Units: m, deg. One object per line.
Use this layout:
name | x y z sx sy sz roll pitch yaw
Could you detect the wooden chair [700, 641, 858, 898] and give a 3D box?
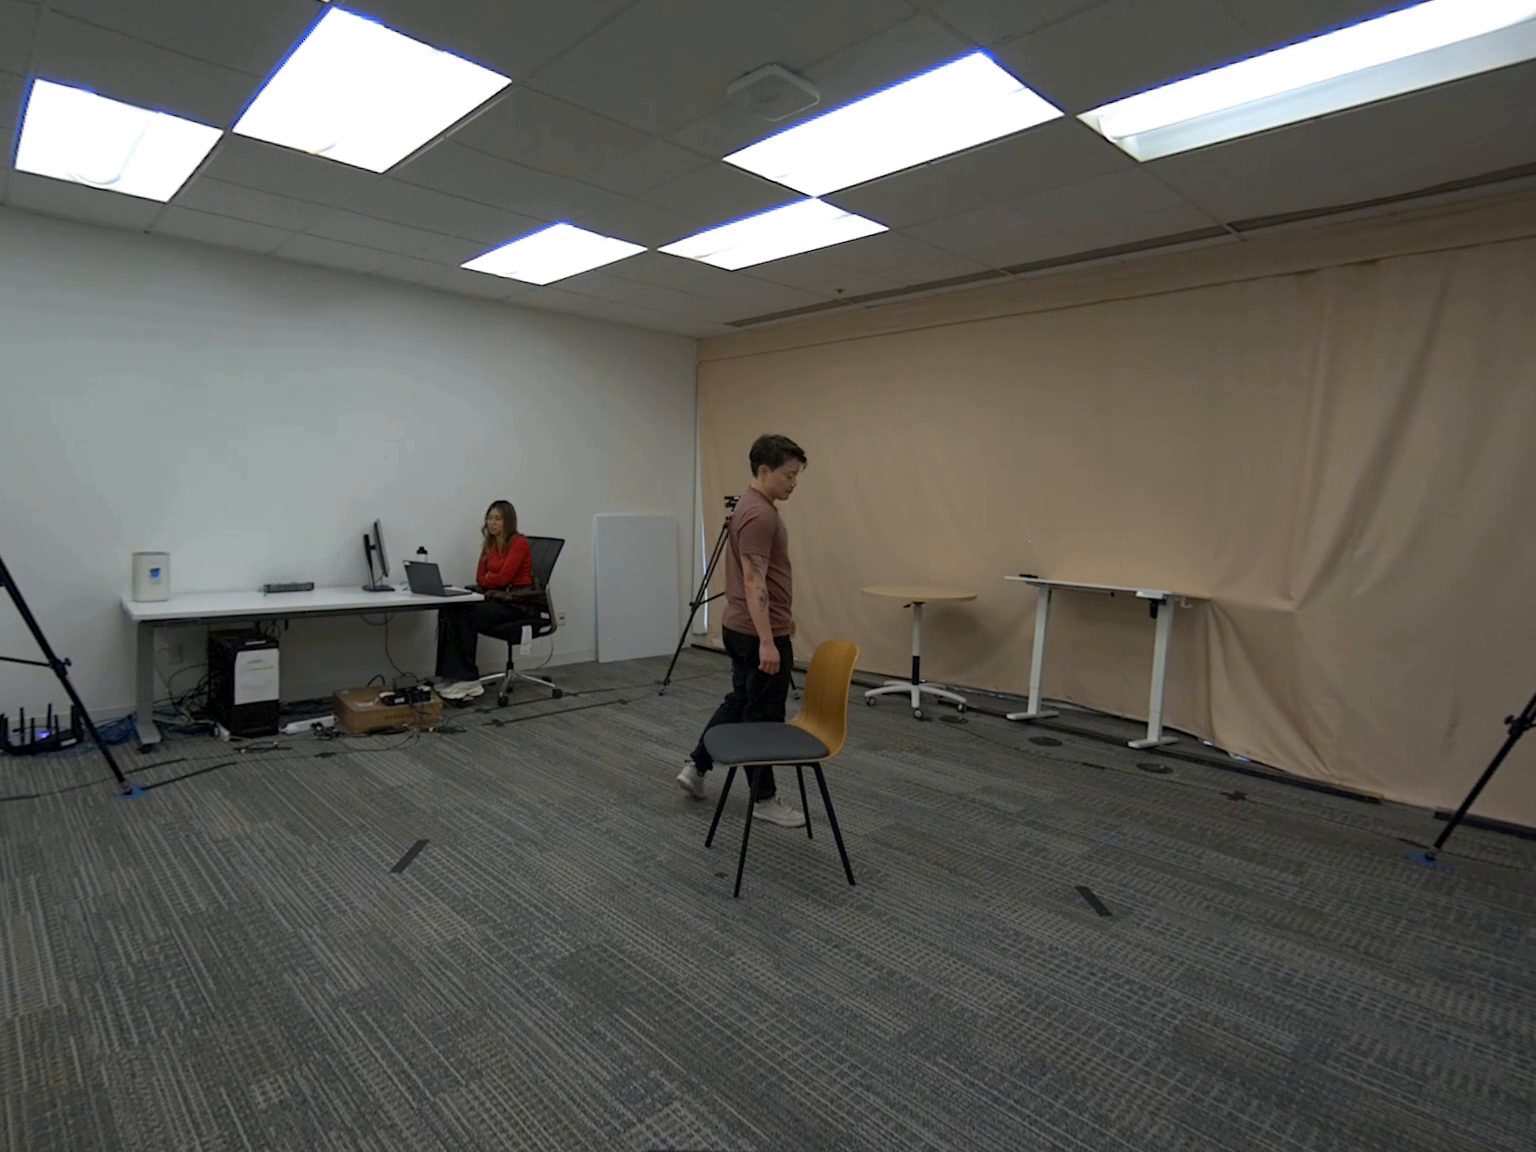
wooden chair | 0.029 0.677 3.166 0.516 0.876 0.485 4 2 -16
